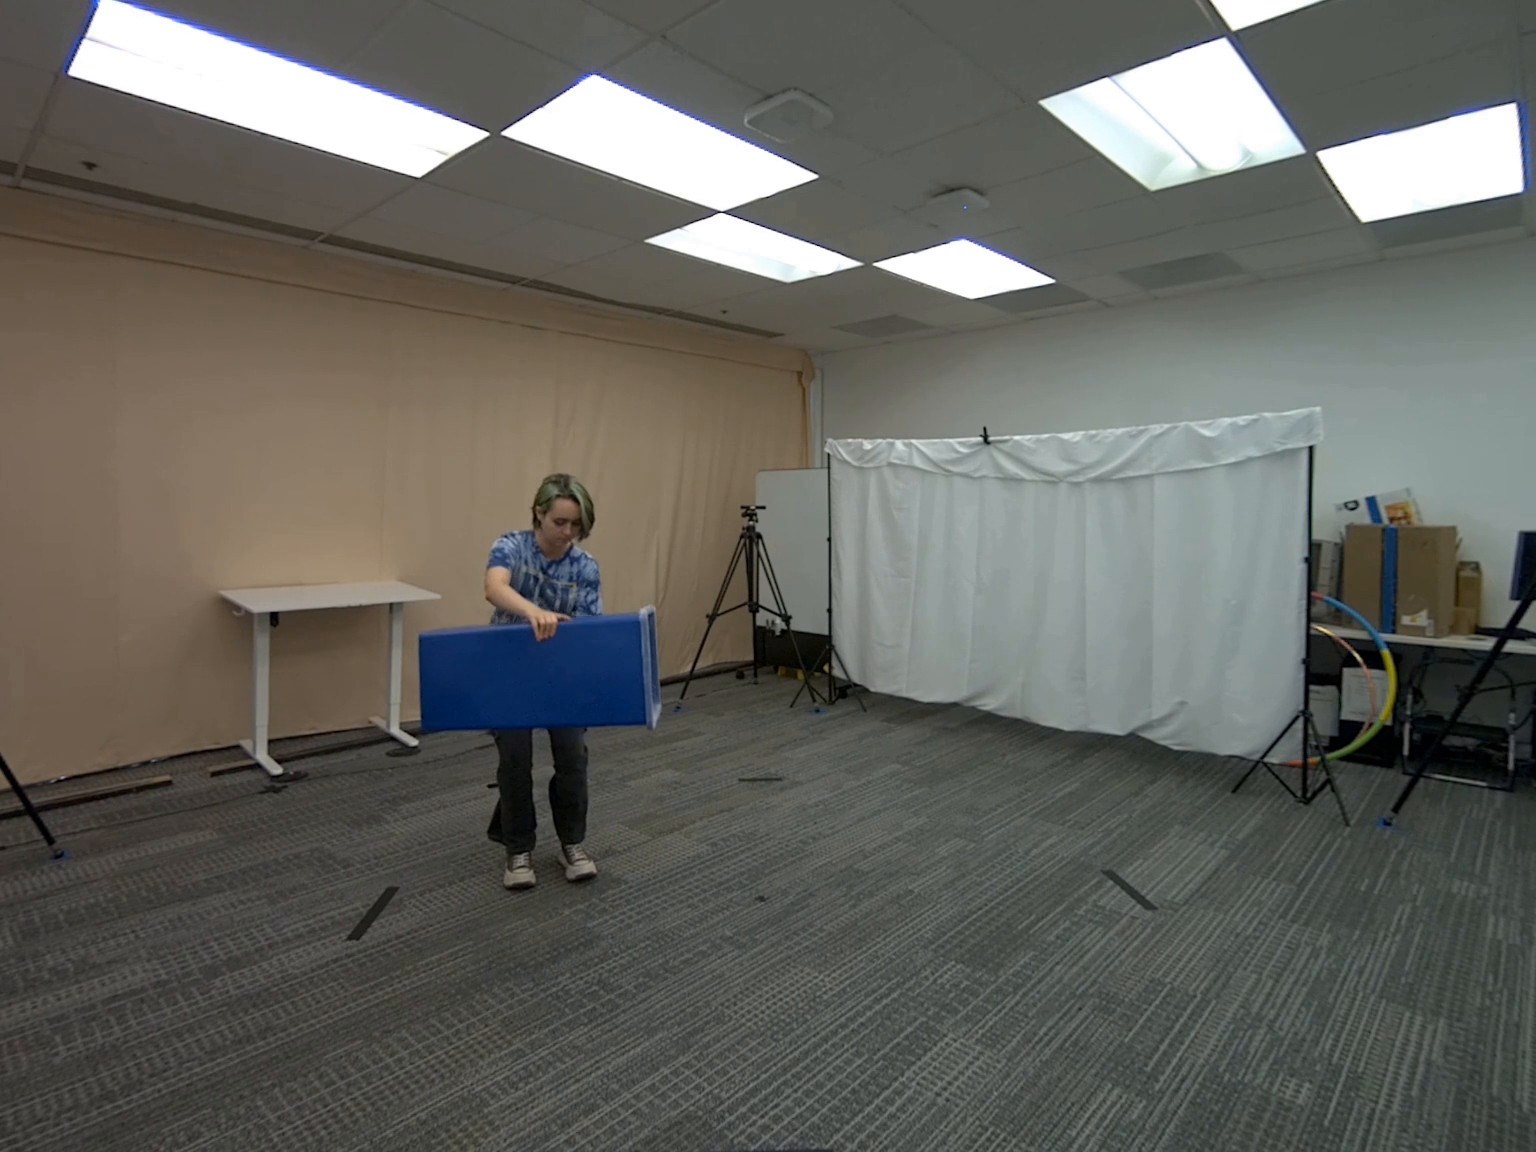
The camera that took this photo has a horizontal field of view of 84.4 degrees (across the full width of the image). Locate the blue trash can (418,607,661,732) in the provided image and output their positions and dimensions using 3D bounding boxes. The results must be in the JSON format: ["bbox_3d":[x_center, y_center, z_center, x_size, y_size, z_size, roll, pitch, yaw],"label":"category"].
[{"bbox_3d":[-0.713,0.296,2.713,0.712,0.374,0.378,-2,-1,-2],"label":"blue trash can"}]
